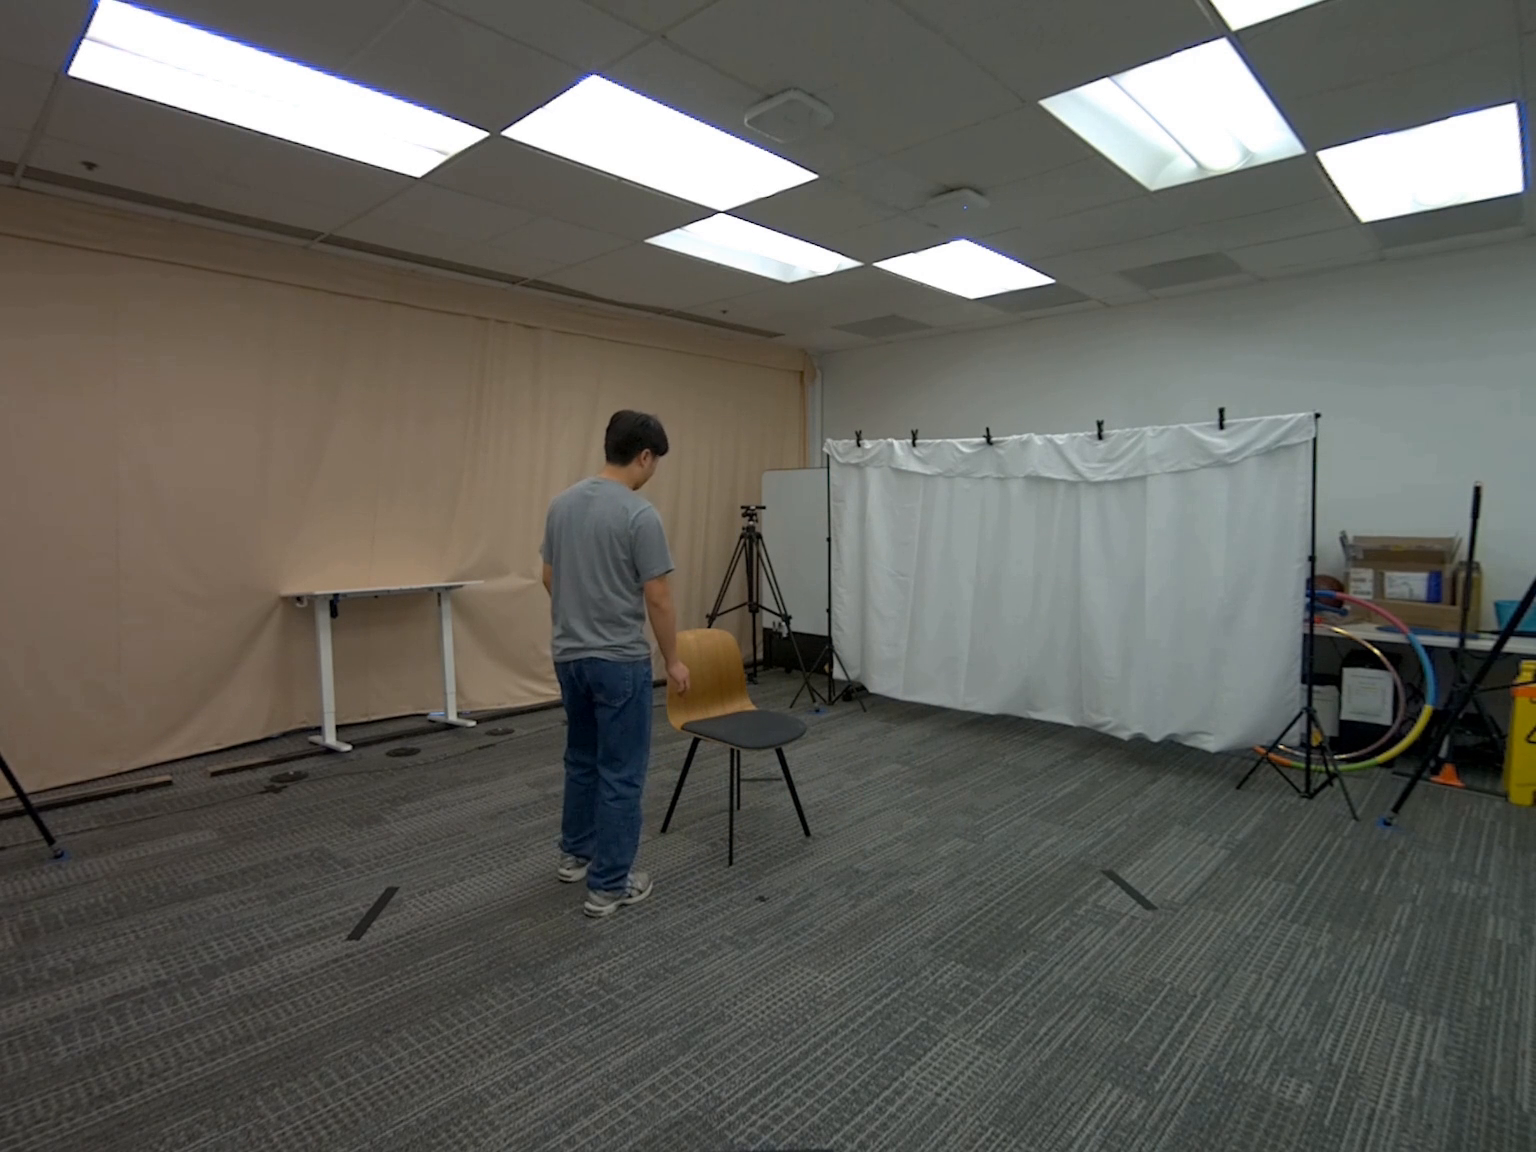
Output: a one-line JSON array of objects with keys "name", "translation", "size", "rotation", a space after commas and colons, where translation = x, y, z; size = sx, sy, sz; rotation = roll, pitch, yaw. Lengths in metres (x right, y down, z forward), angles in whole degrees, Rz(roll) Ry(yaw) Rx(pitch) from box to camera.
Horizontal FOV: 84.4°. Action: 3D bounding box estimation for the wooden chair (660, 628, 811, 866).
[{"name": "wooden chair", "translation": [-0.135, 0.672, 3.534], "size": [0.463, 0.878, 0.539], "rotation": [-2, -1, -42]}]
